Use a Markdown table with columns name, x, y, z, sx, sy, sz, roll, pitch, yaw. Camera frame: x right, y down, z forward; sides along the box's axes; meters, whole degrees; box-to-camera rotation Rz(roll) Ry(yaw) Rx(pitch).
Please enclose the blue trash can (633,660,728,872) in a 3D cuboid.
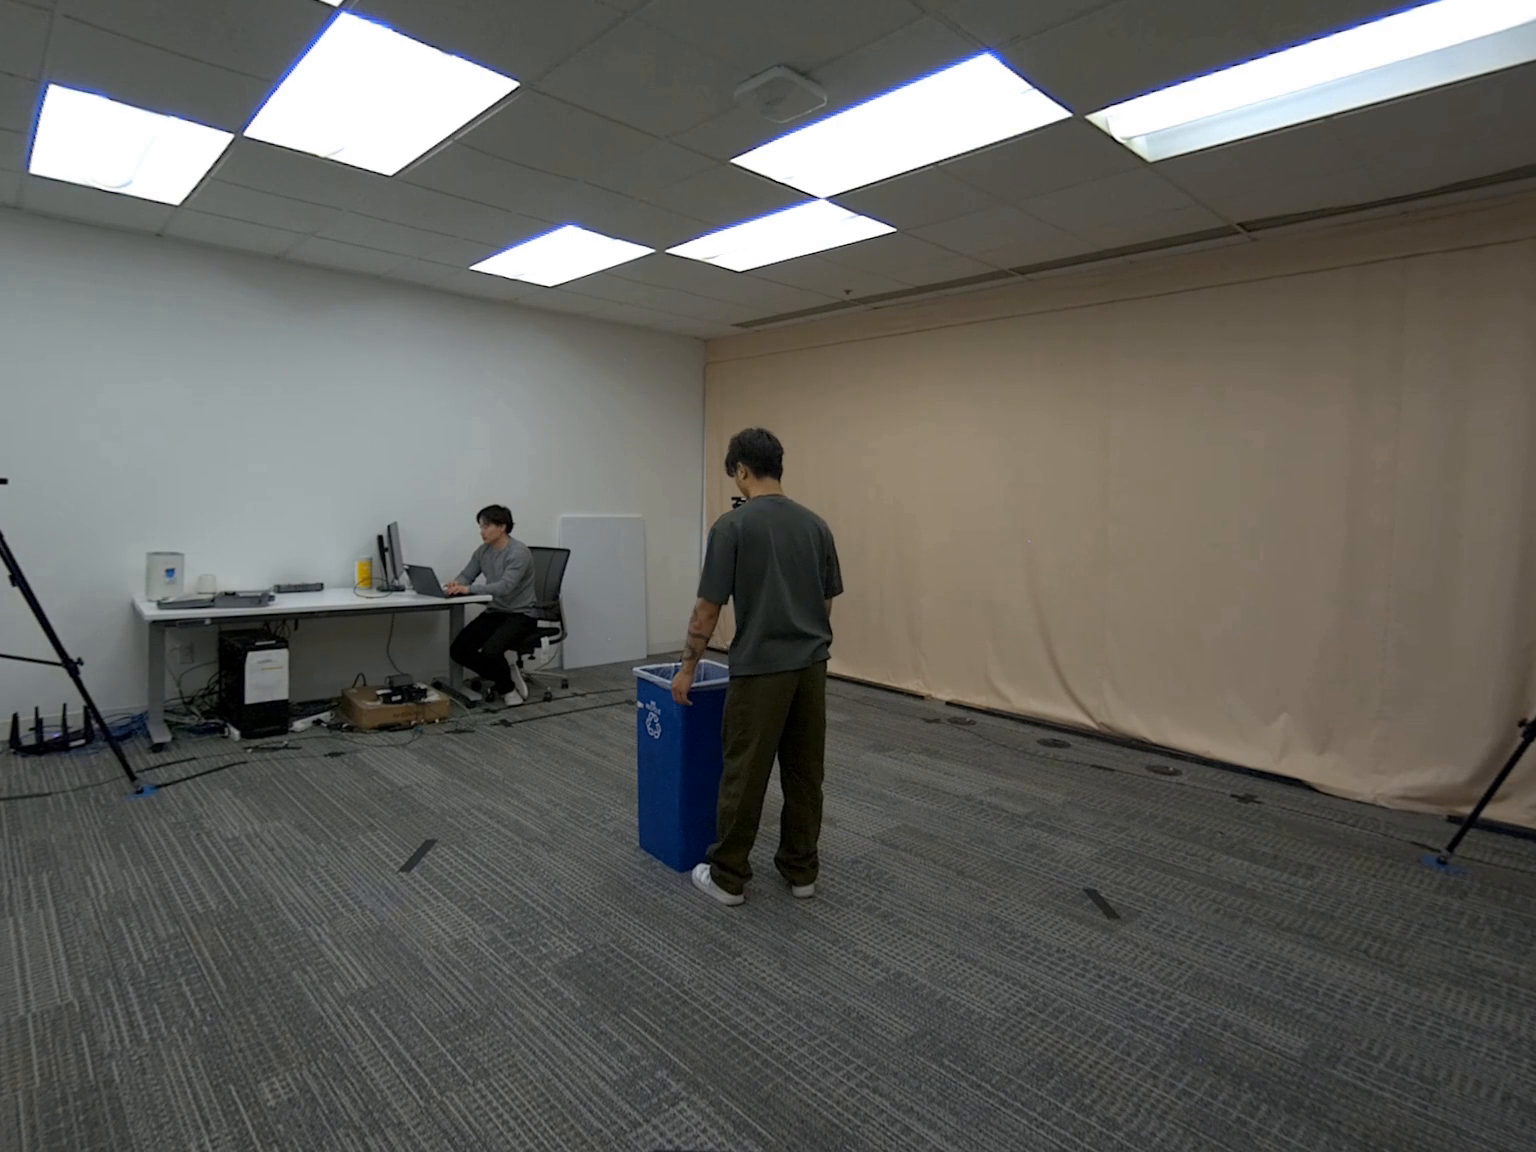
| name | x | y | z | sx | sy | sz | roll | pitch | yaw |
| --- | --- | --- | --- | --- | --- | --- | --- | --- | --- |
| blue trash can | -0.309 | 0.727 | 3.302 | 0.365 | 0.712 | 0.388 | -1 | 5 | -40 |
